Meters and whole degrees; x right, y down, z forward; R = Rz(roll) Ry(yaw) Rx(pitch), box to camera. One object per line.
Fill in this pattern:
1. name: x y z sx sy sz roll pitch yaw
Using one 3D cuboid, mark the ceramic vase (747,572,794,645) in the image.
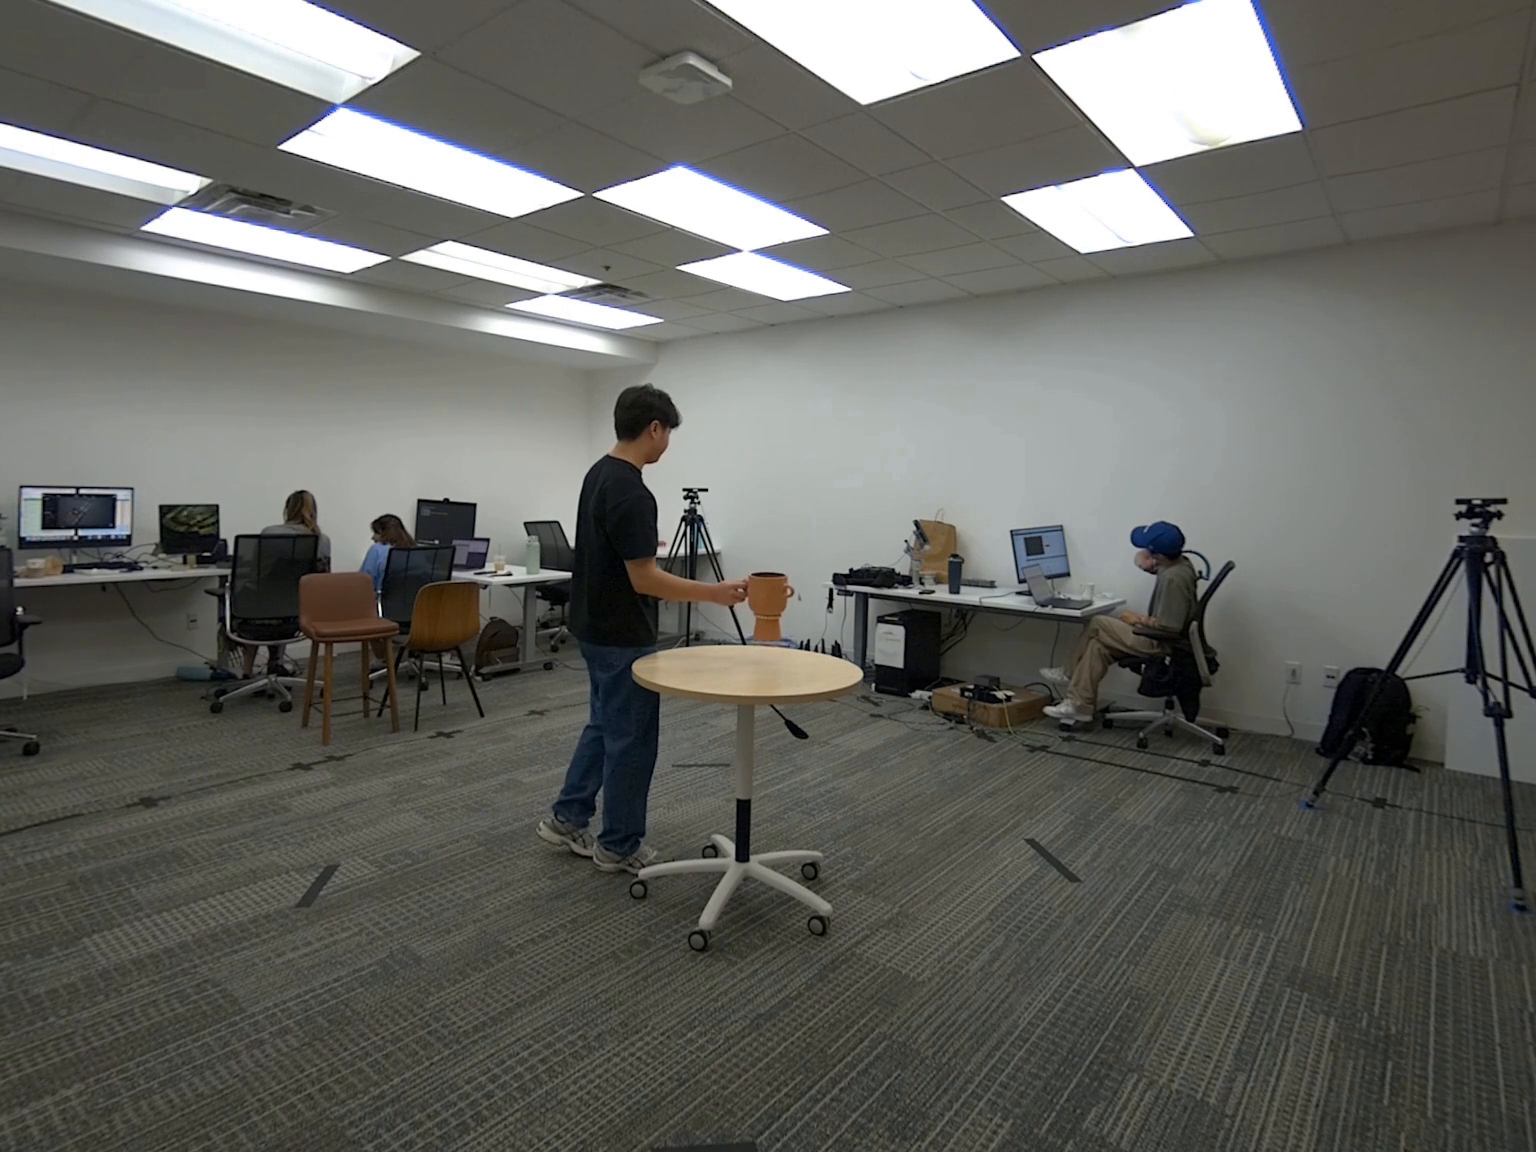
1. ceramic vase: -0.012 0.105 2.884 0.131 0.218 0.164 -2 9 -32
